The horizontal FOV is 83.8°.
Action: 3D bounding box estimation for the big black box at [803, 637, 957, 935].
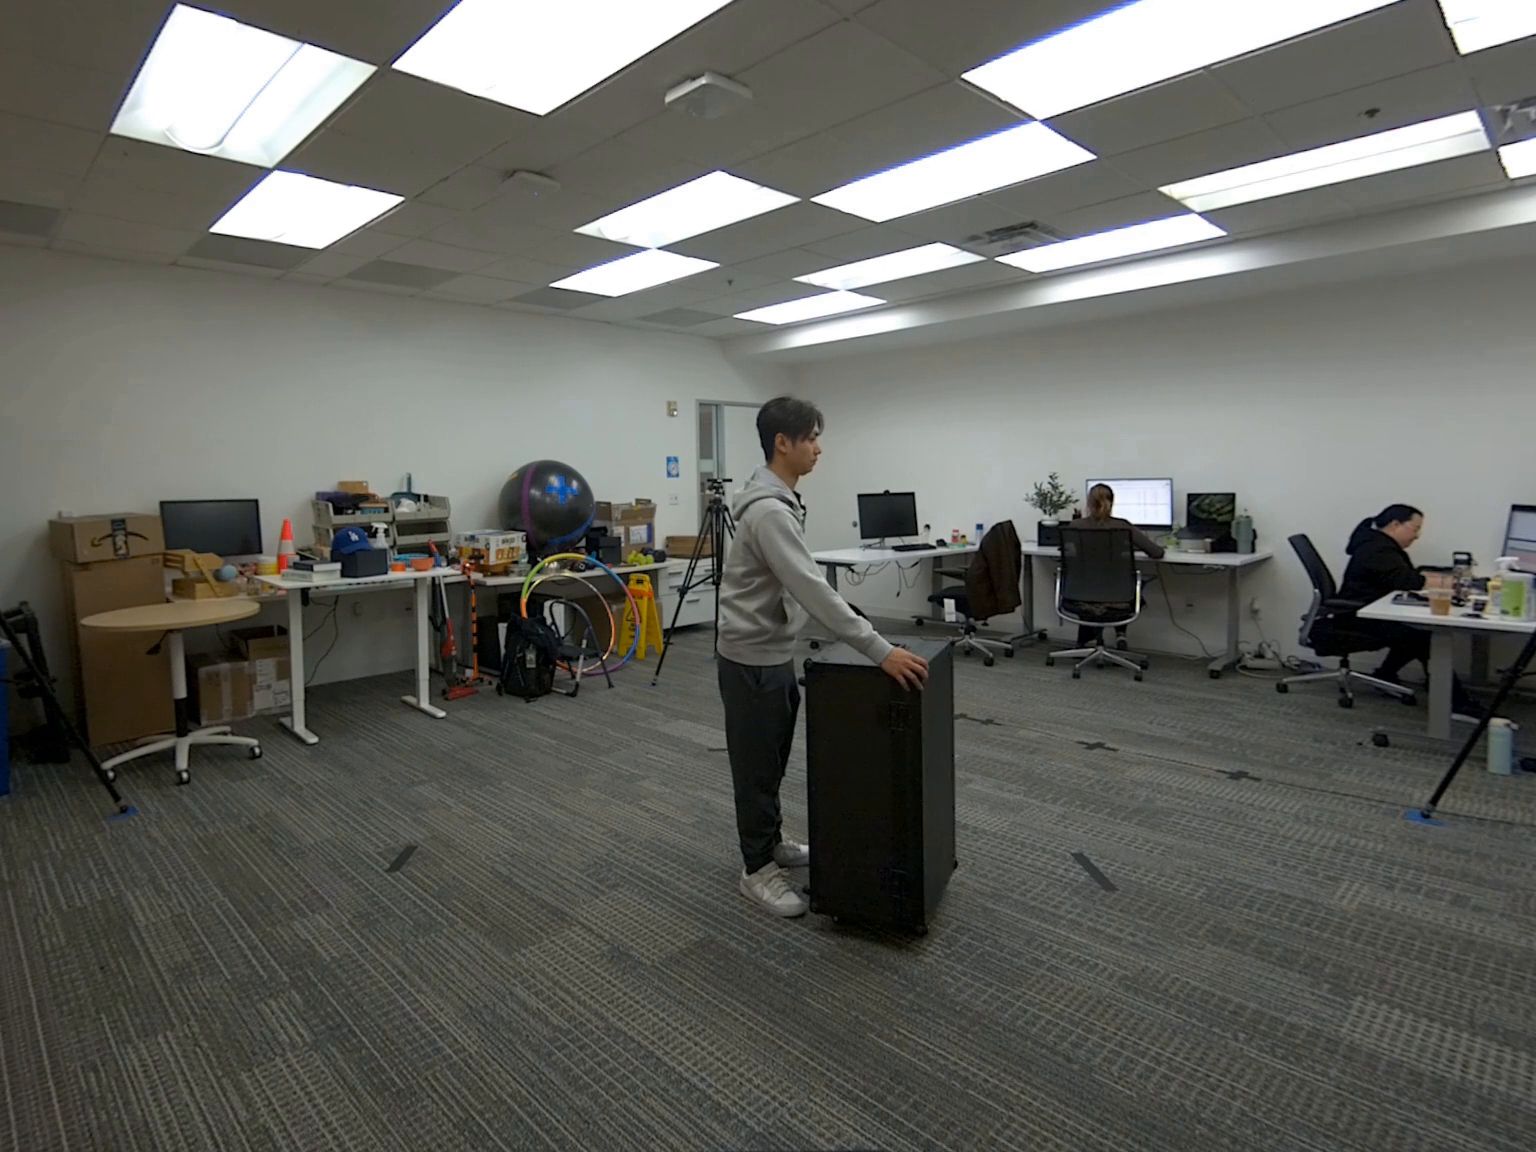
[{"bbox_3d":[0.364,0.653,2.729,0.405,0.858,0.512,0,5,25],"label":"big black box"}]
